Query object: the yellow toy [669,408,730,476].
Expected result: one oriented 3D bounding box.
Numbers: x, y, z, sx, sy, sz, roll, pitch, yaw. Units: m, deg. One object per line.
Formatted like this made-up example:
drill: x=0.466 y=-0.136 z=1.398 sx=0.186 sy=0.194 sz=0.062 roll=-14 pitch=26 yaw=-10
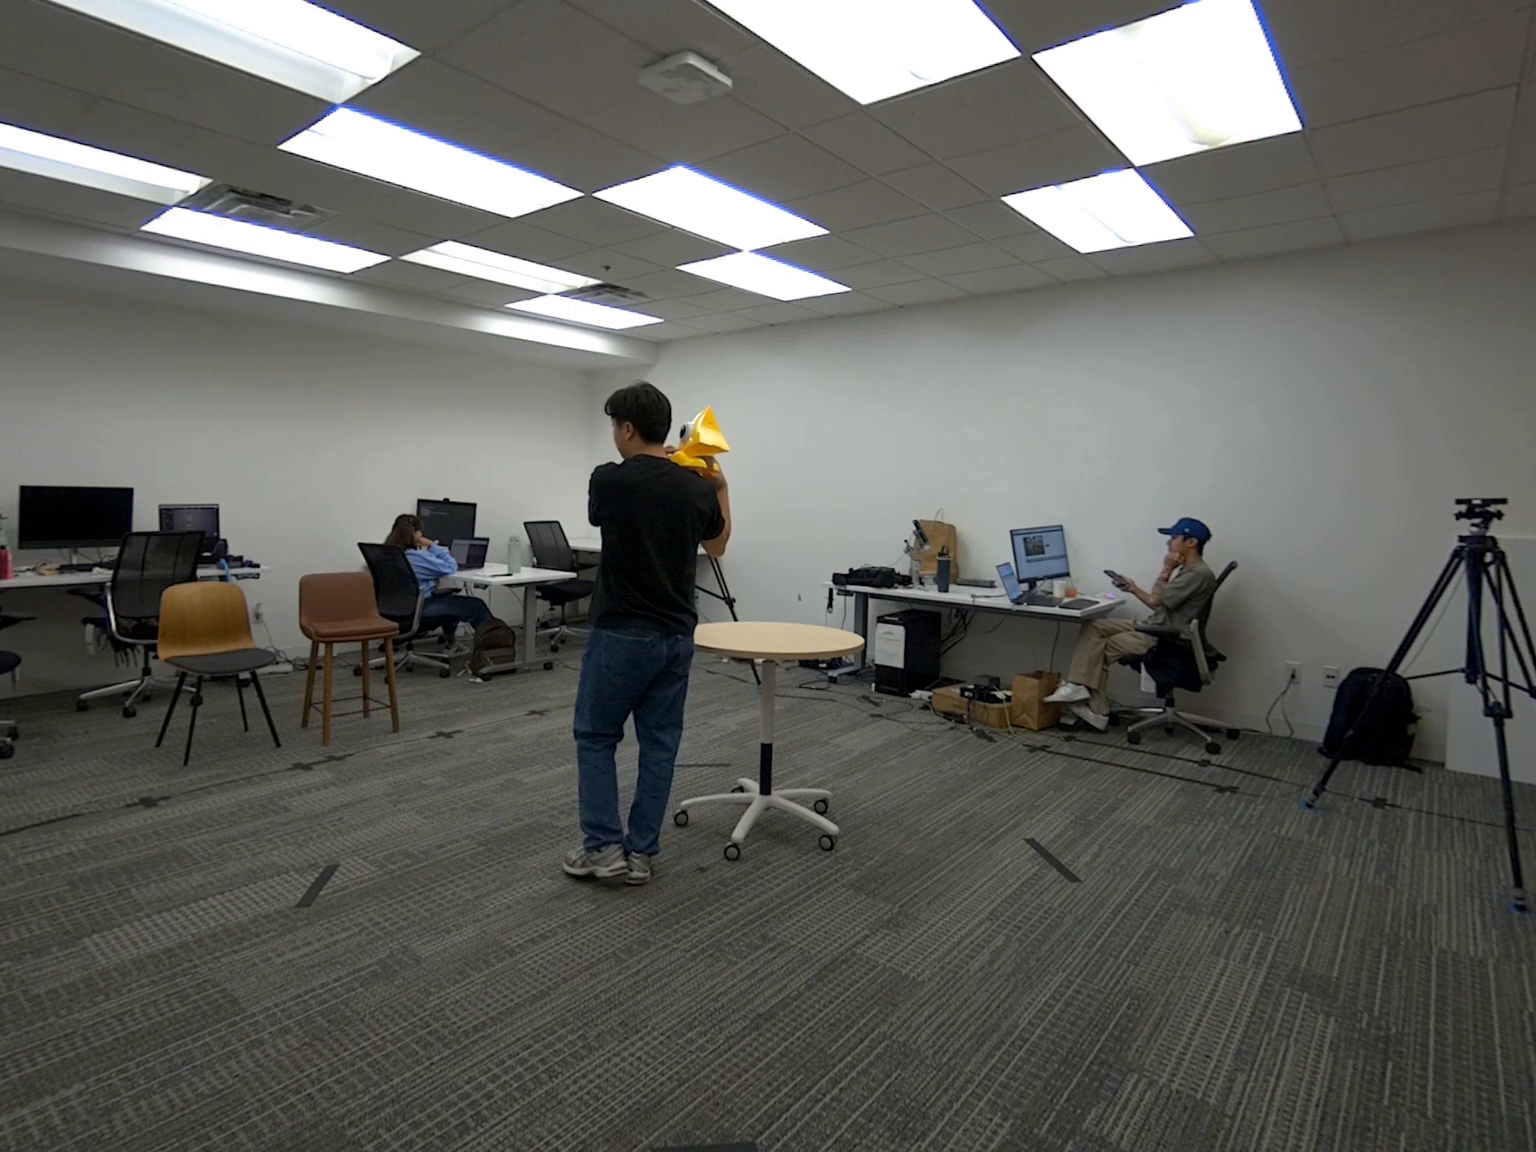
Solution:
yellow toy: x=-0.280 y=-0.504 z=3.107 sx=0.198 sy=0.231 sz=0.198 roll=-1 pitch=-3 yaw=31
